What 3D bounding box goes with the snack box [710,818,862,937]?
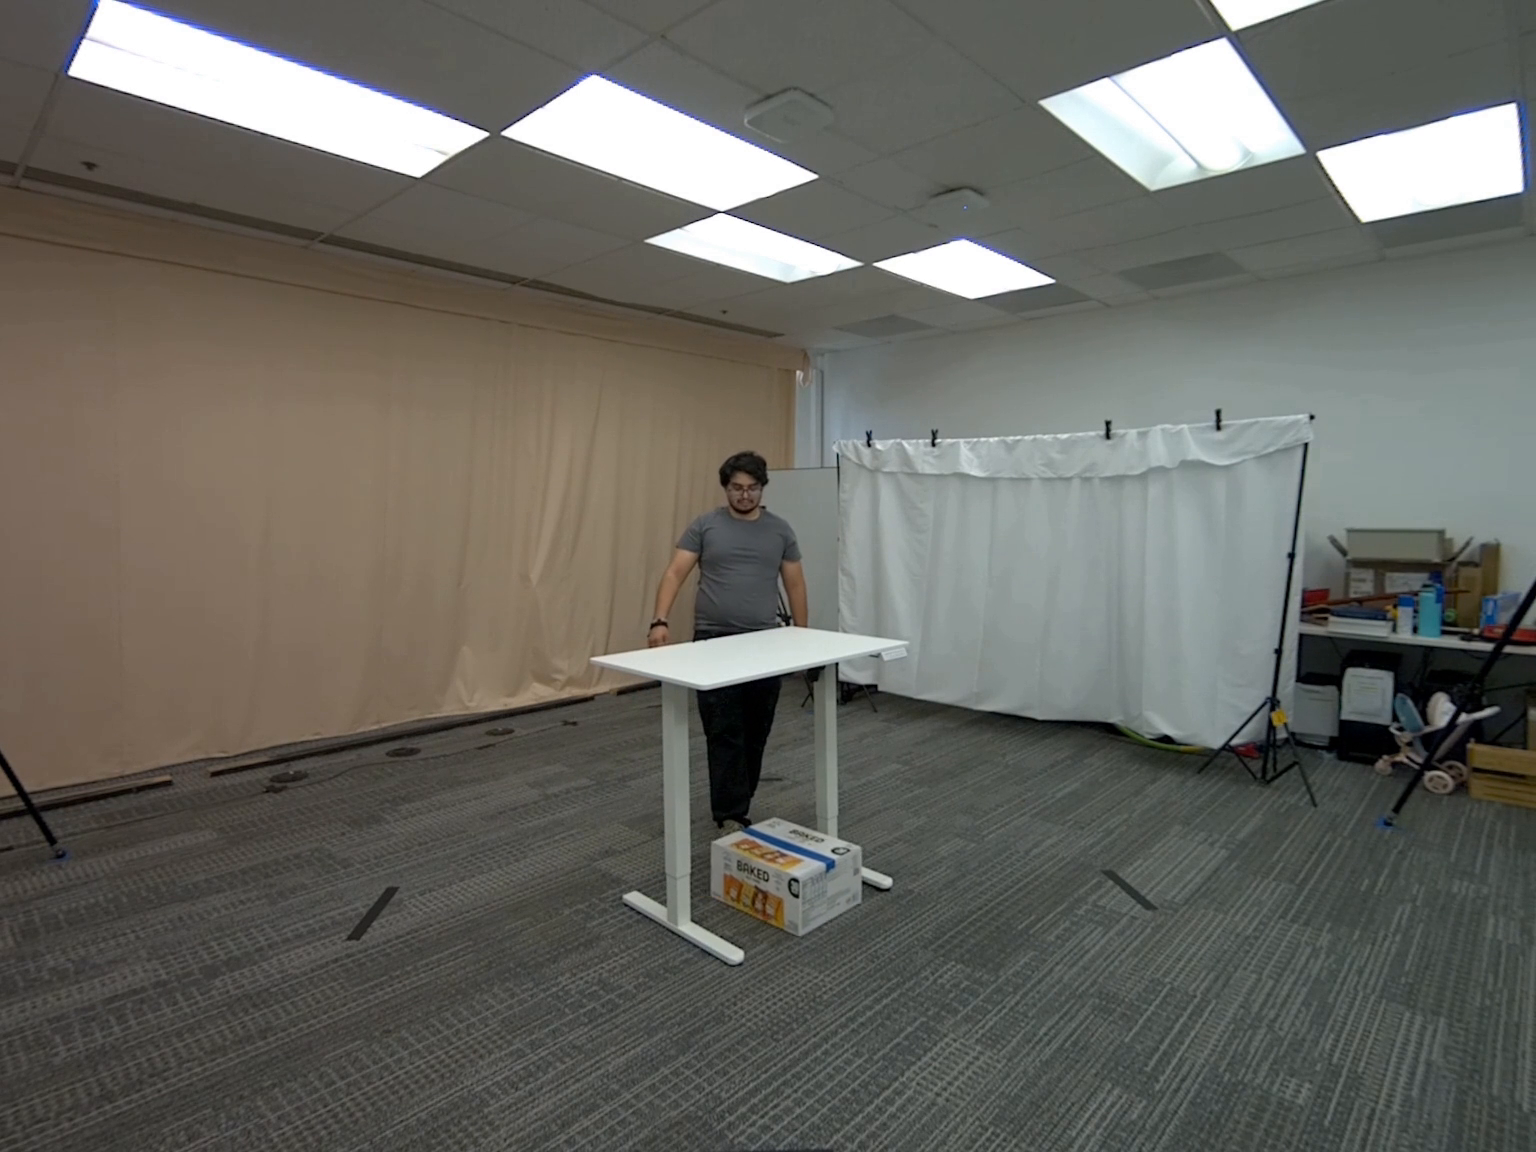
[{"bbox_3d":[0.065,1.044,2.962,0.419,0.205,0.330,4,6,43],"label":"snack box"}]
